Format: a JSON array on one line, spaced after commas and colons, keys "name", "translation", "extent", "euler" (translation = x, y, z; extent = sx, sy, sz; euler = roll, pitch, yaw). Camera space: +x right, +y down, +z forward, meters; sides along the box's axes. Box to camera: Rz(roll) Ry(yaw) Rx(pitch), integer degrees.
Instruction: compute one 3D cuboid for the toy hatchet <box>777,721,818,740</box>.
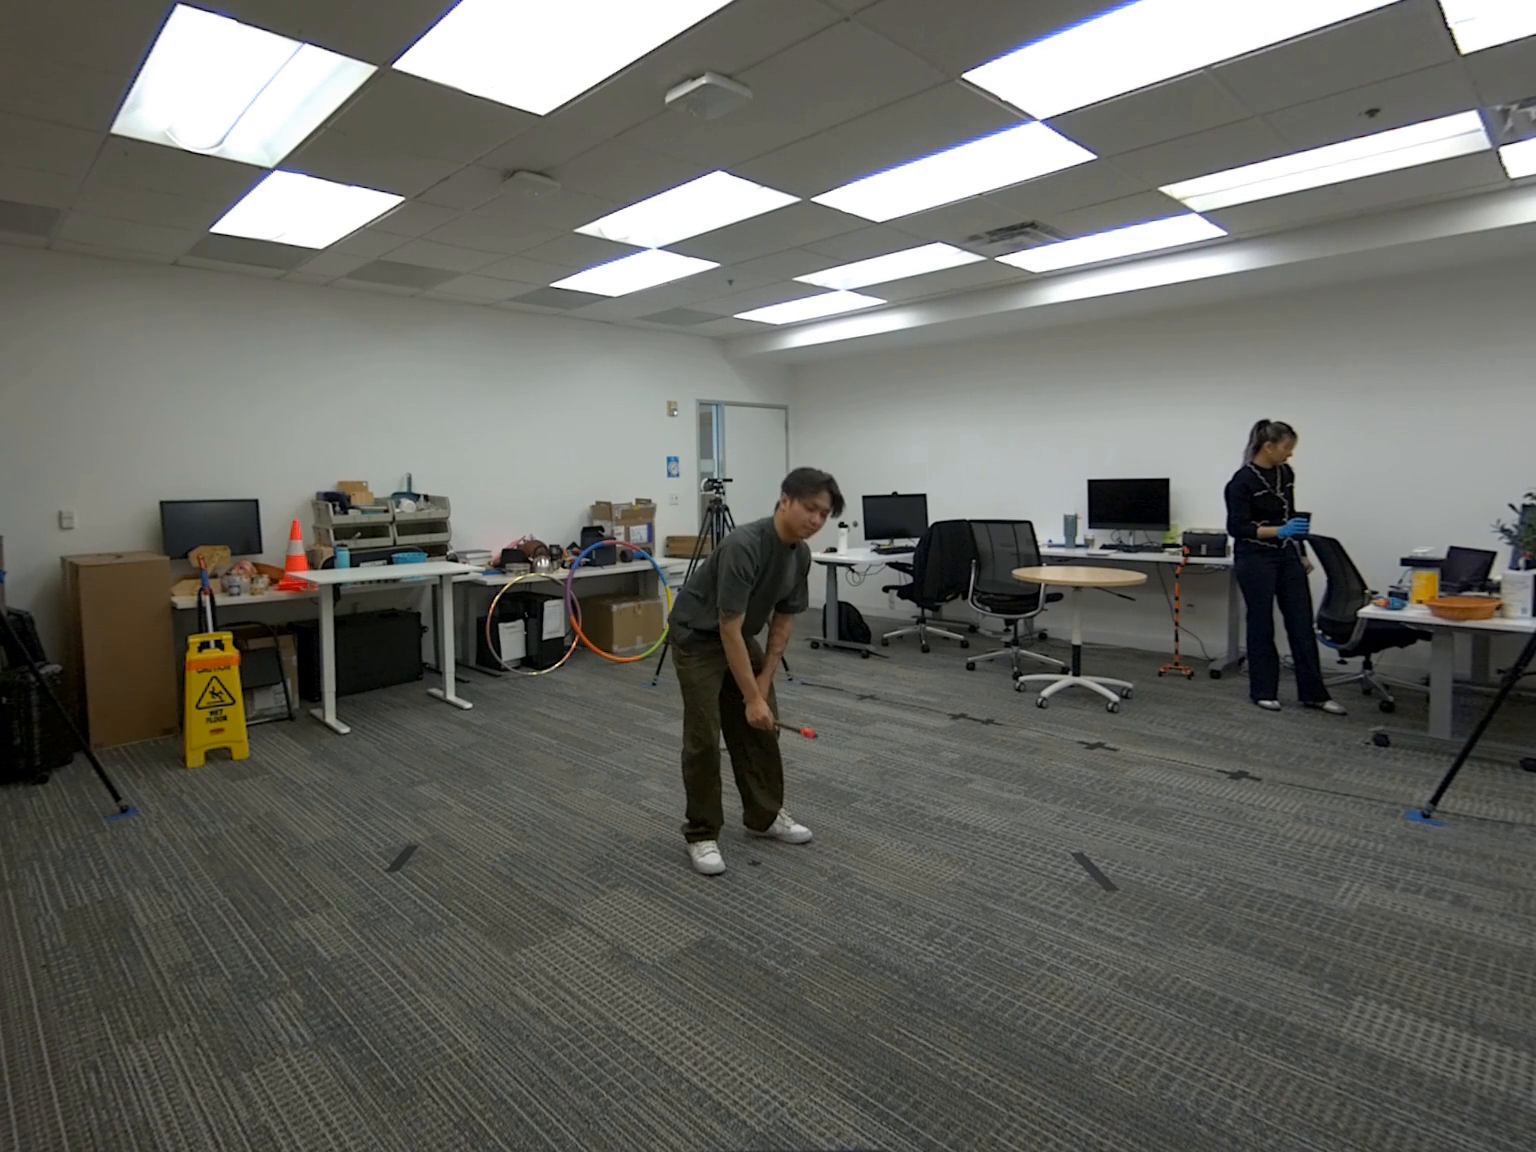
[{"name": "toy hatchet", "translation": [0.051, 0.568, 2.900], "extent": [0.272, 0.030, 0.127], "euler": [-27, -20, 22]}]
